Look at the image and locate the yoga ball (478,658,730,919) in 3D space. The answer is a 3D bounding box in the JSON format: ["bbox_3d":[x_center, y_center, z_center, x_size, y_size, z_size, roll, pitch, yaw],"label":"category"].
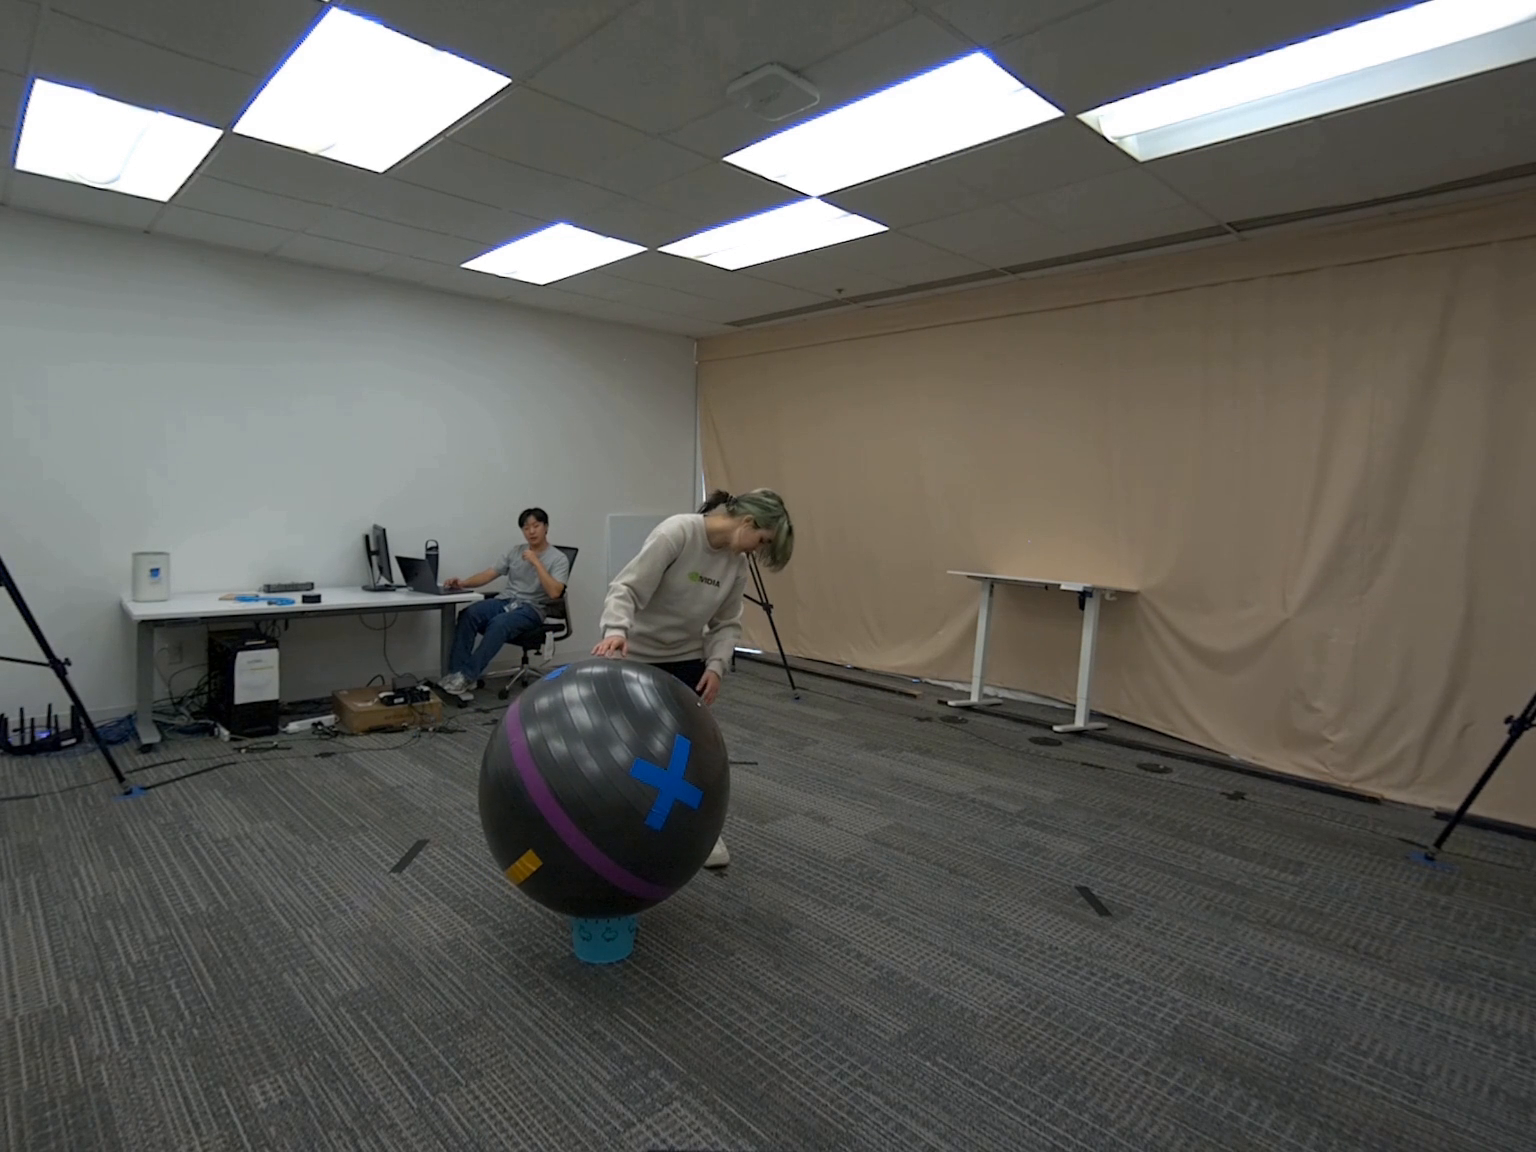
[{"bbox_3d":[-0.498,0.638,2.556,0.757,0.756,0.761,1,4,-1],"label":"yoga ball"}]
